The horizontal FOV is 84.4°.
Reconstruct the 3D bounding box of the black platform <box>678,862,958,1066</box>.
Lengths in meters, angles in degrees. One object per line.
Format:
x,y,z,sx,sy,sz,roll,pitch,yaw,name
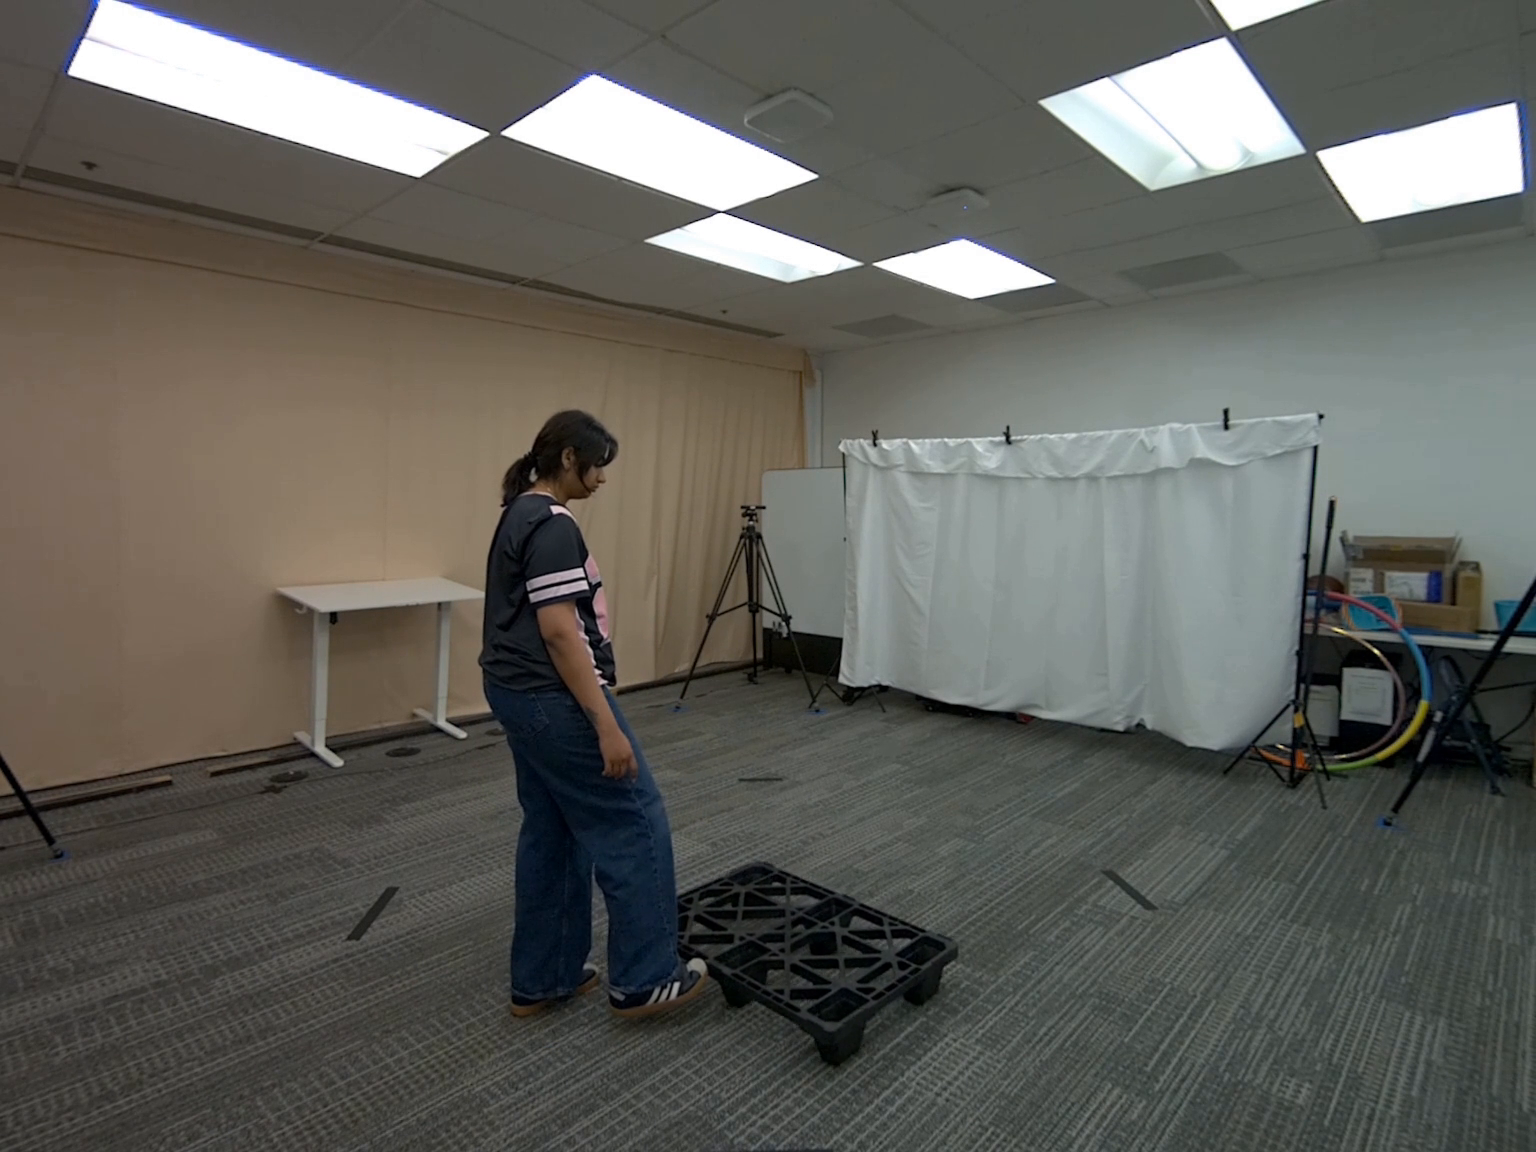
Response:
0.067,1.117,2.512,0.833,0.143,0.586,5,6,44,black platform
